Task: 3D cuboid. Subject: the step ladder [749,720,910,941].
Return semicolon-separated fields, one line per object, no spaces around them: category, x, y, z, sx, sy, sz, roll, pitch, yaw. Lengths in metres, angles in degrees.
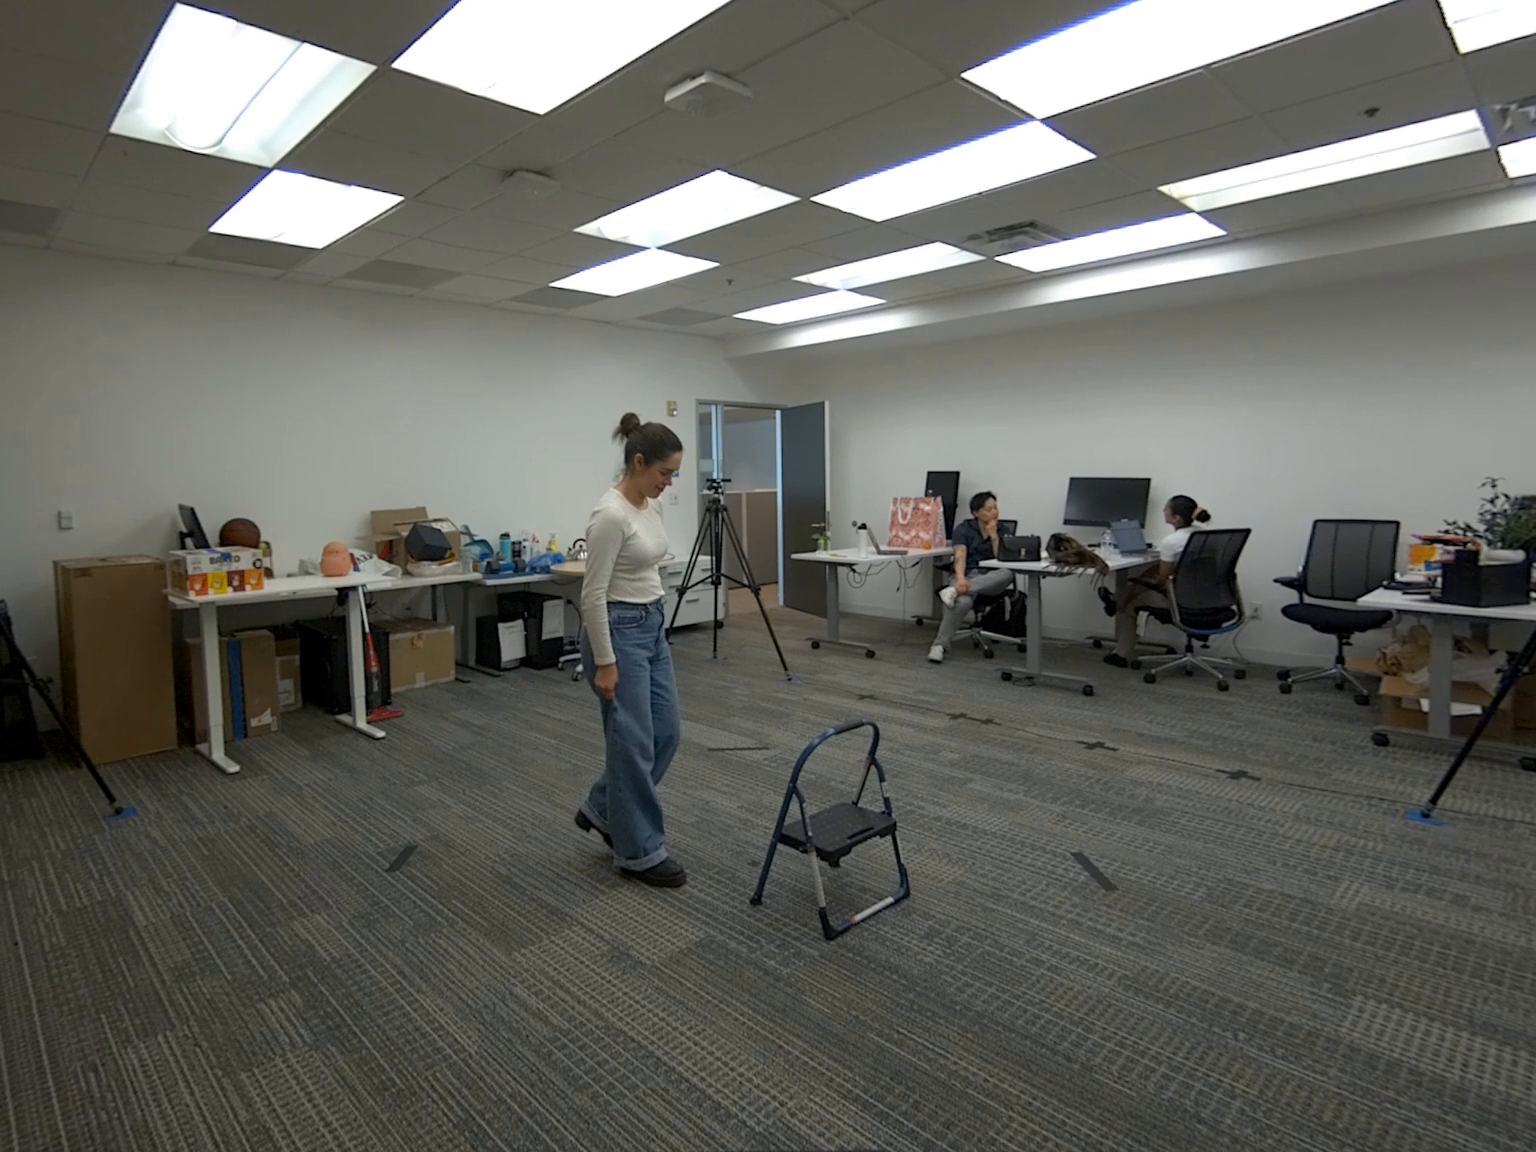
step ladder;0.207;0.769;2.809;0.419;0.604;0.360;-6;6;-44
